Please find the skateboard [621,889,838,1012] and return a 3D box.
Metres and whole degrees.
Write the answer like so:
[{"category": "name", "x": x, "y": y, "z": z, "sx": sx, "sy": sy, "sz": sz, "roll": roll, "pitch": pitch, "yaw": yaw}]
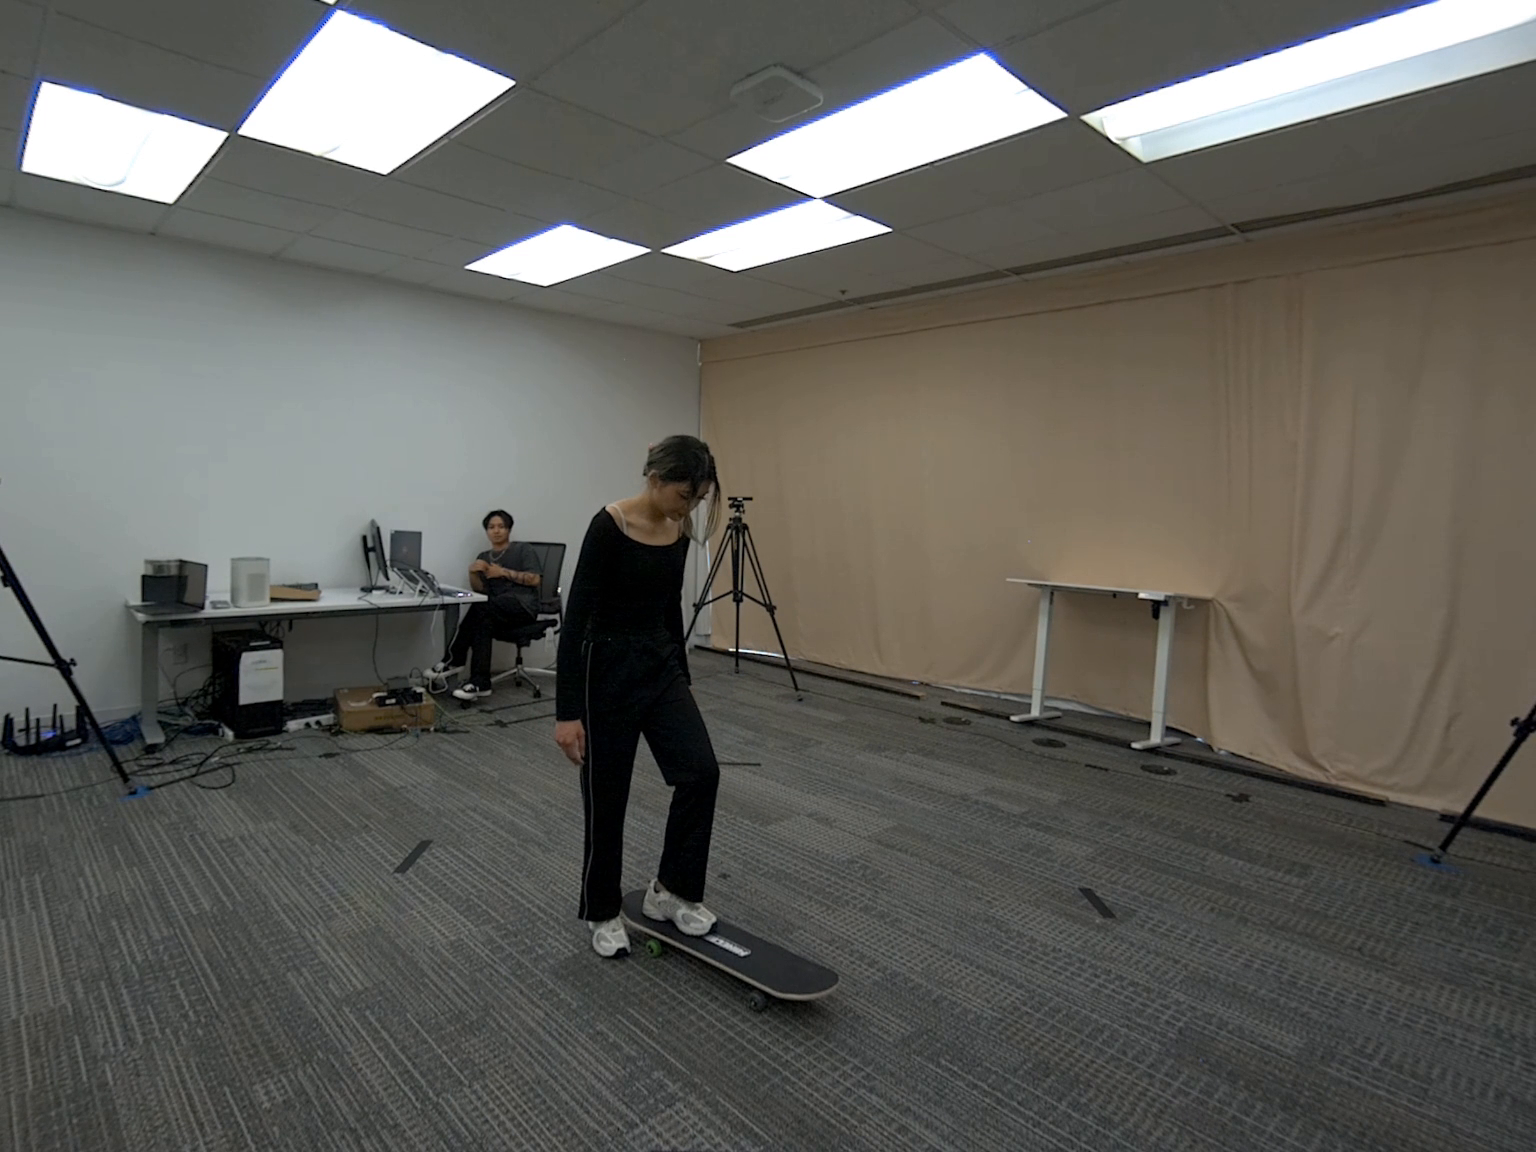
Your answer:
[{"category": "skateboard", "x": -0.146, "y": 1.117, "z": 2.477, "sx": 0.805, "sy": 0.110, "sz": 0.189, "roll": 5, "pitch": 6, "yaw": 39}]
